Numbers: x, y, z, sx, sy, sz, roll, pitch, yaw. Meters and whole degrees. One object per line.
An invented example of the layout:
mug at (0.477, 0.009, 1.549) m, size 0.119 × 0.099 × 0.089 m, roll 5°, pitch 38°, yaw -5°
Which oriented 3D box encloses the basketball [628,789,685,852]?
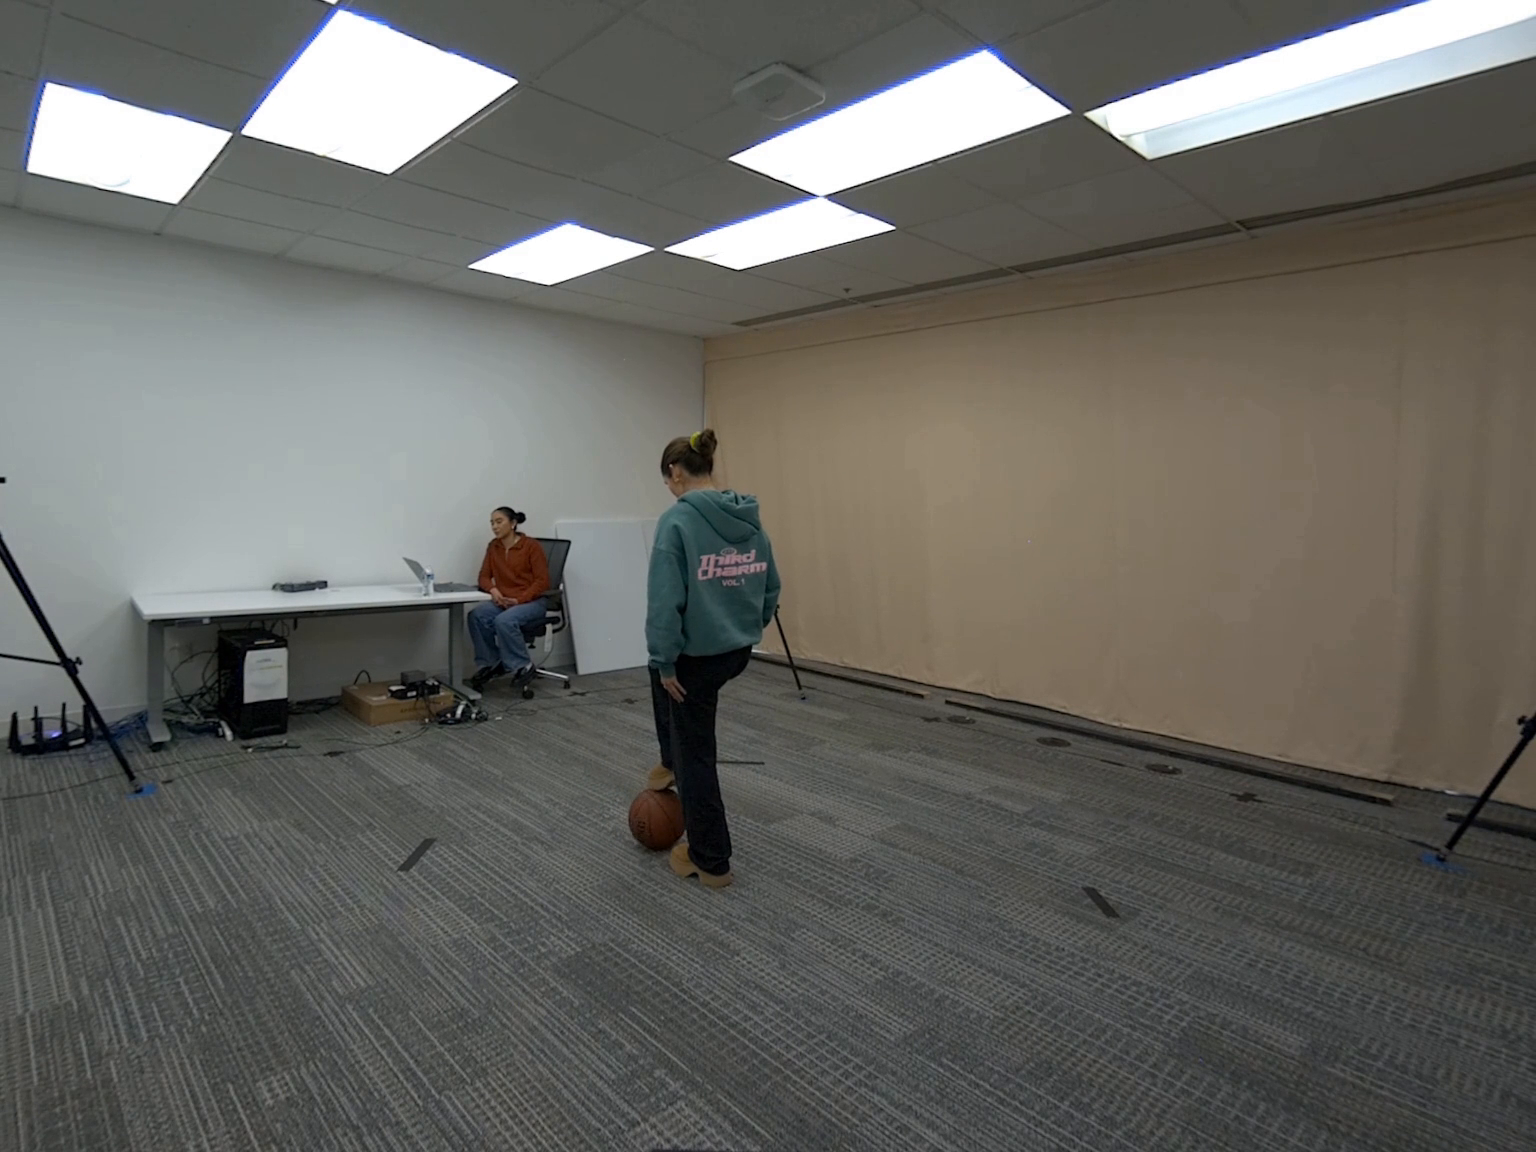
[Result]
basketball at (-0.454, 0.955, 3.340) m, size 0.236 × 0.235 × 0.237 m, roll 1°, pitch 4°, yaw -1°
